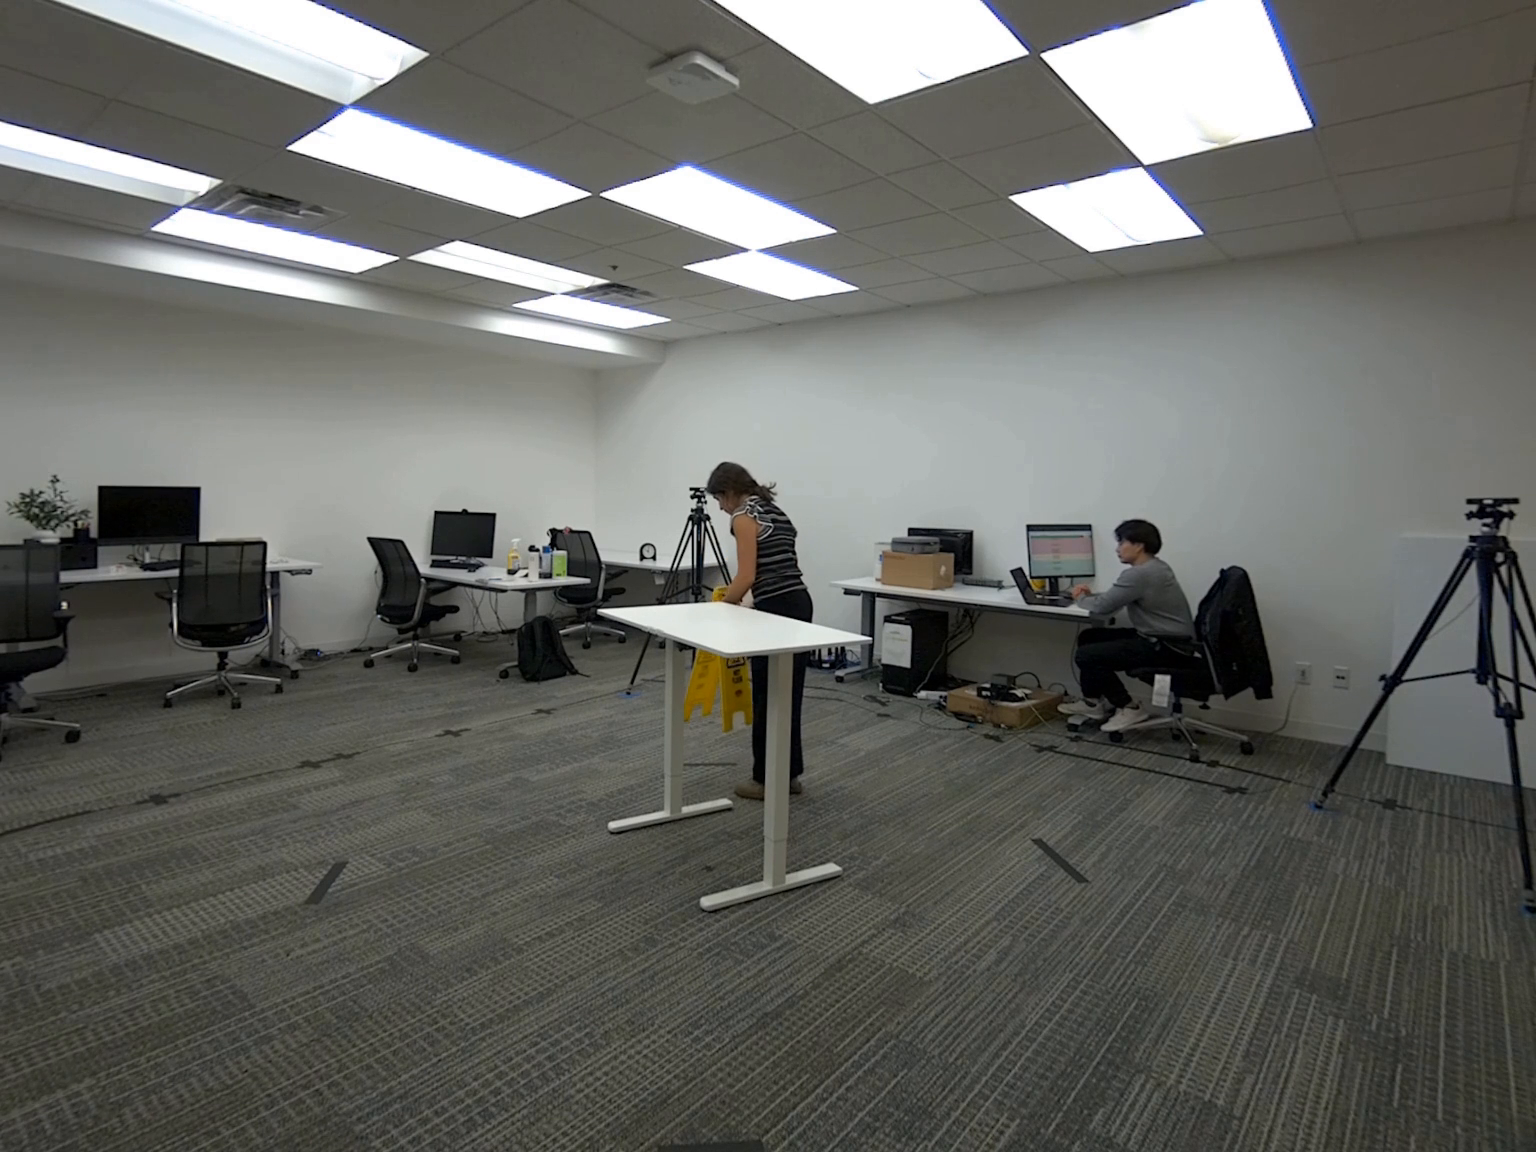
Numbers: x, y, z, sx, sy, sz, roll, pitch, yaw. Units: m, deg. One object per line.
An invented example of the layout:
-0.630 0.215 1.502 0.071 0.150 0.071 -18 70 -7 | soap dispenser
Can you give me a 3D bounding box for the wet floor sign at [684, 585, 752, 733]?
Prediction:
-0.227 0.375 4.043 0.298 0.645 0.274 5 1 28 | wet floor sign
